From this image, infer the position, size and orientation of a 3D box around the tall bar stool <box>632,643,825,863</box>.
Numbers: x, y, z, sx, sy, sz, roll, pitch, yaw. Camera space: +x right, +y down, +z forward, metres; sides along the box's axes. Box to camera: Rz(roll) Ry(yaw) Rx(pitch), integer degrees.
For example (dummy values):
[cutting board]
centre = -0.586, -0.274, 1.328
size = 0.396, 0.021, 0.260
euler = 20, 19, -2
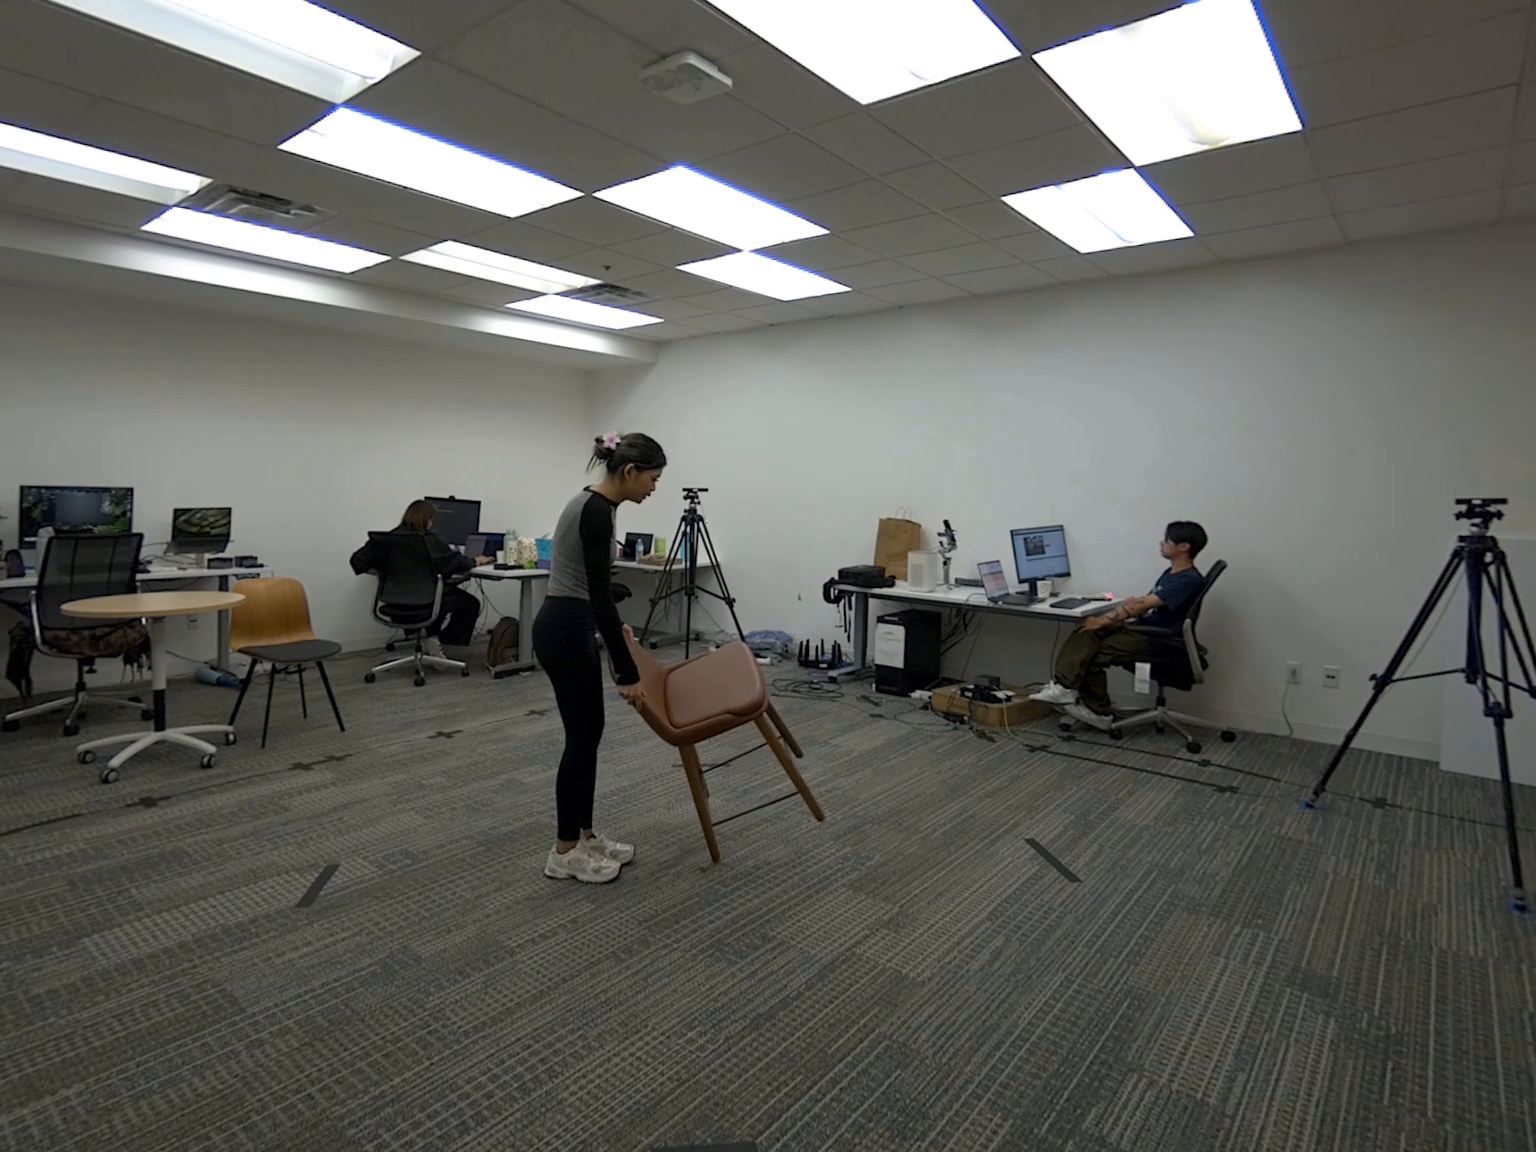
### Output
[tall bar stool]
centre = -0.196, 0.555, 3.167
size = 0.469, 0.864, 0.469
euler = -24, 24, 4
